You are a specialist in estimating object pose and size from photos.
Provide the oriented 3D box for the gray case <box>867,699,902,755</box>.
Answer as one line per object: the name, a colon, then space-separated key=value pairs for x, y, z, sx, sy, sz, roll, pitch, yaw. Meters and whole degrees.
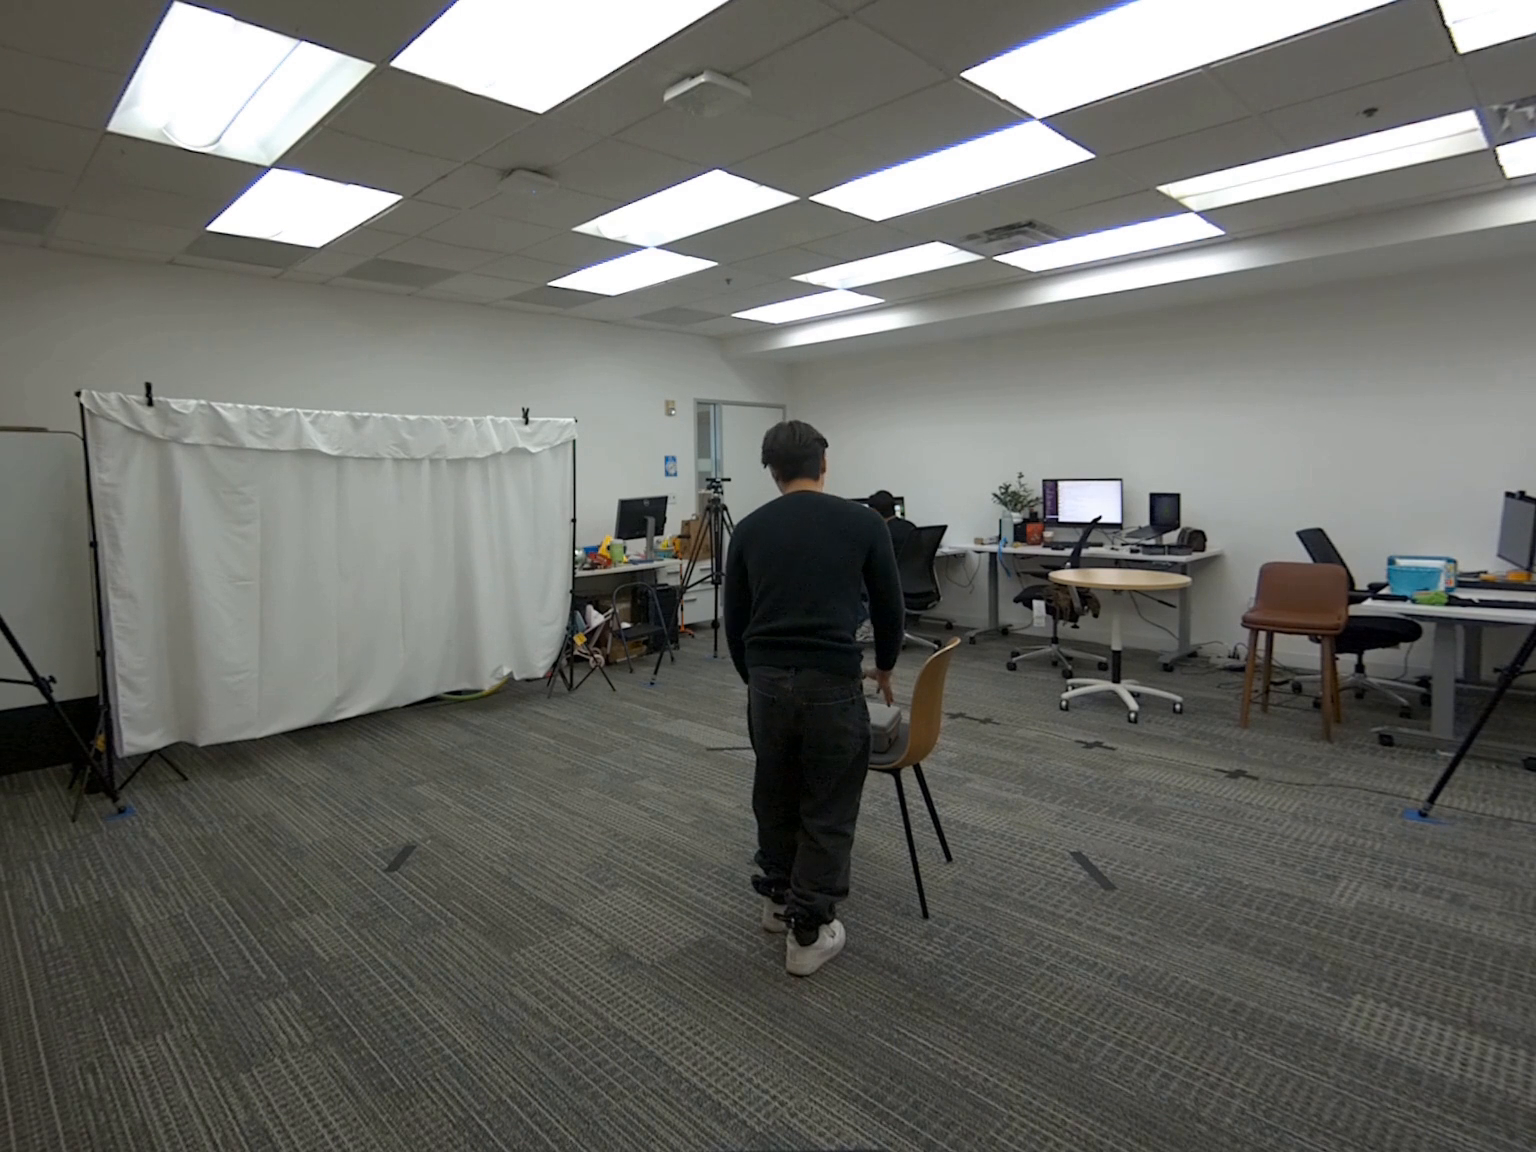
gray case: x=0.320 y=0.506 z=3.001 sx=0.263 sy=0.103 sz=0.258 roll=5 pitch=16 yaw=23
